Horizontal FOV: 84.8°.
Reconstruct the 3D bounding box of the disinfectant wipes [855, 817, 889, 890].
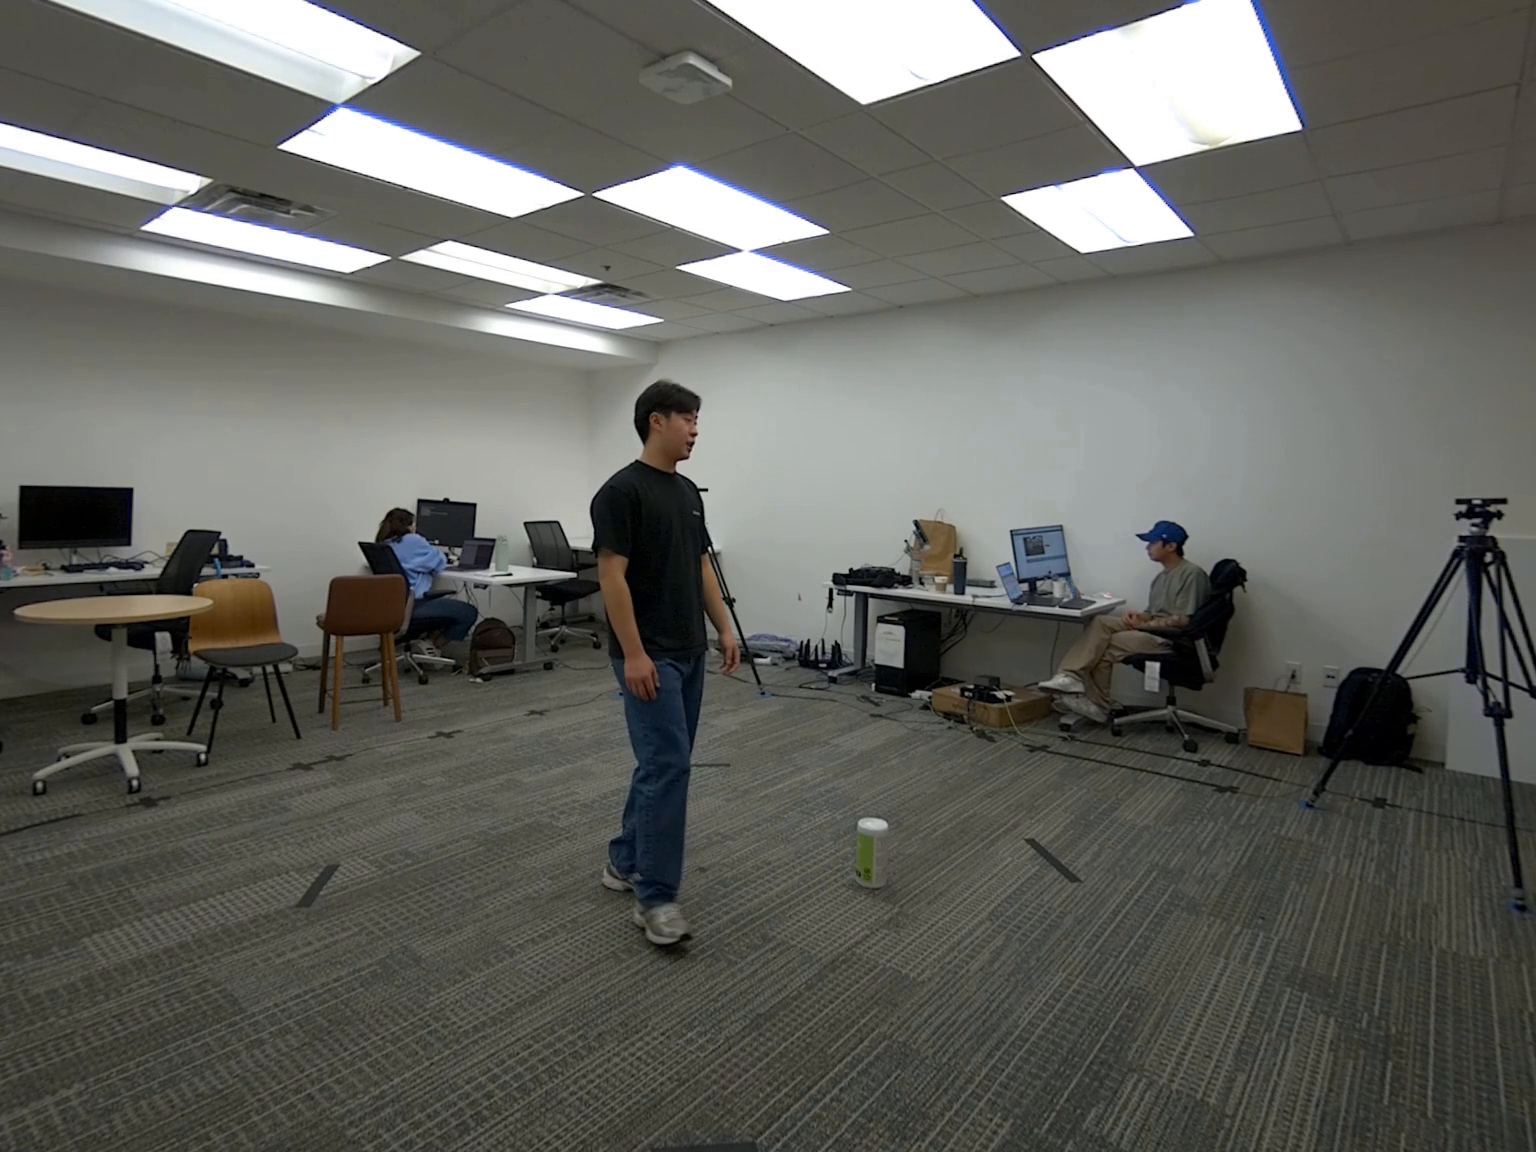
[{"bbox_3d":[0.367,0.988,3.033,0.117,0.217,0.118,3,4,-2],"label":"disinfectant wipes"}]
